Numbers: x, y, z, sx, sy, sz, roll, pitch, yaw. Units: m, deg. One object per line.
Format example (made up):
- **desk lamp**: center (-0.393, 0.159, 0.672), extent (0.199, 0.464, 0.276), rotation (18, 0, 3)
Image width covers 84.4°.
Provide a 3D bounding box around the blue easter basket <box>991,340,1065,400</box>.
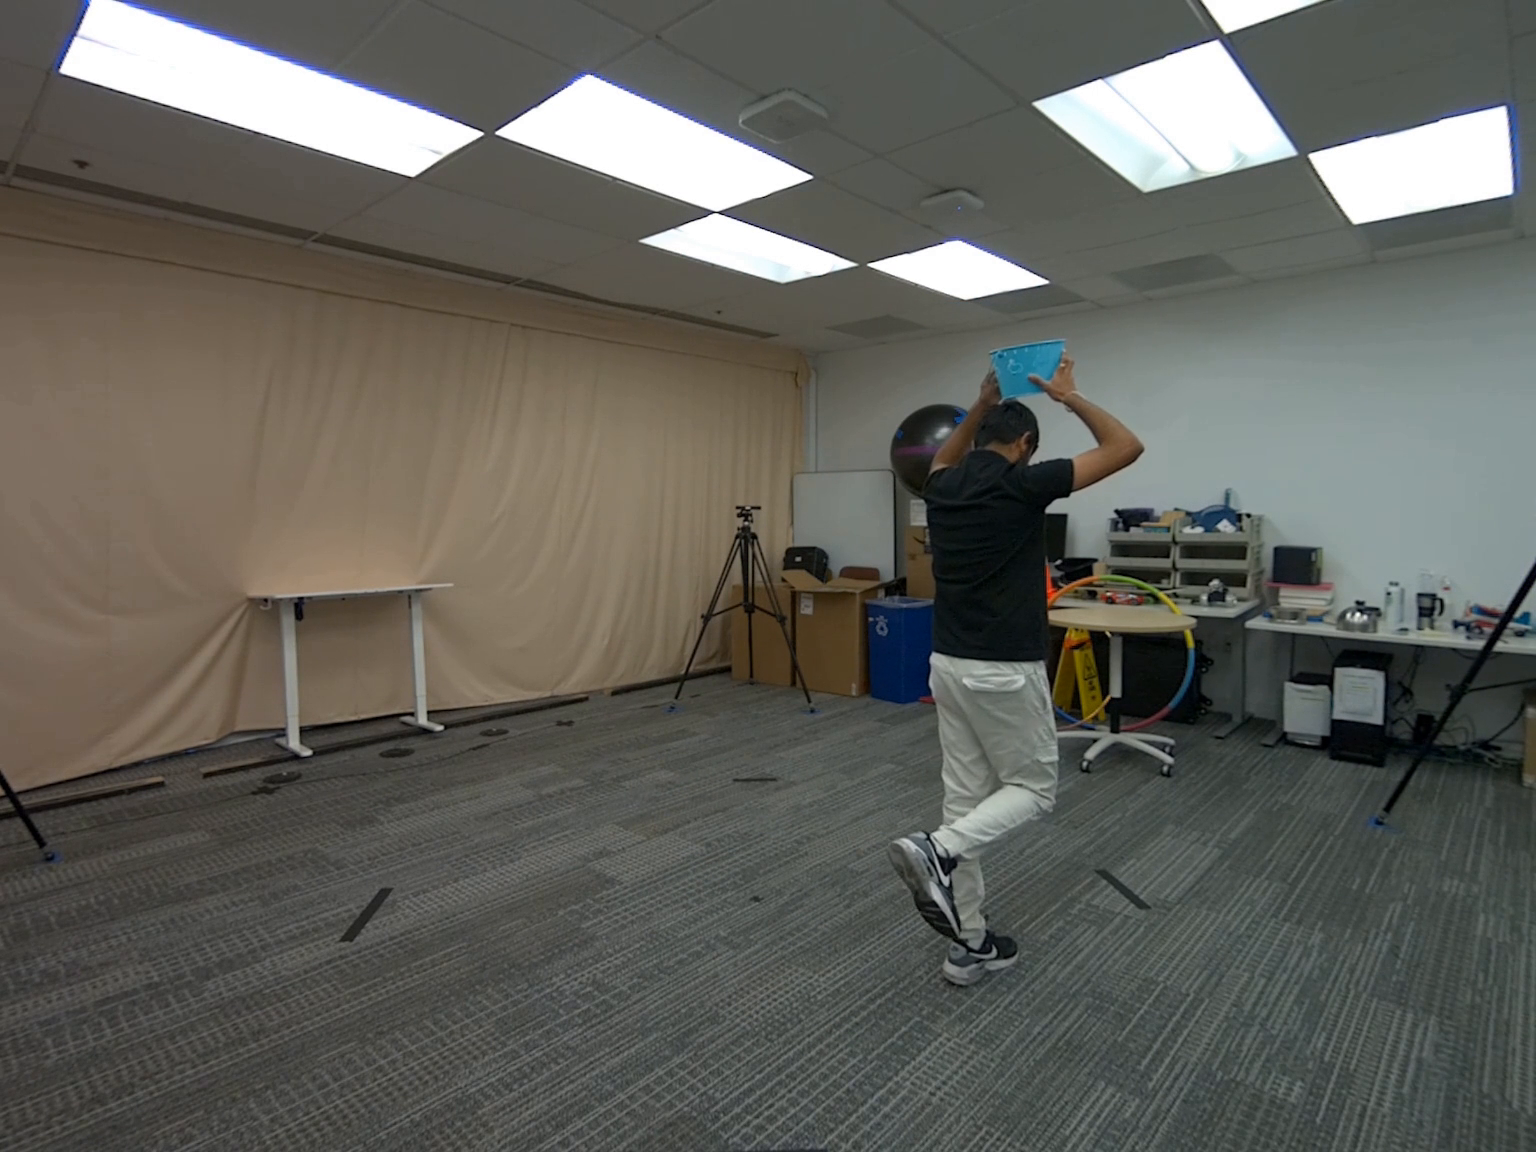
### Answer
- **blue easter basket**: center (0.856, -0.658, 2.674), extent (0.244, 0.155, 0.245), rotation (-9, 9, -1)
